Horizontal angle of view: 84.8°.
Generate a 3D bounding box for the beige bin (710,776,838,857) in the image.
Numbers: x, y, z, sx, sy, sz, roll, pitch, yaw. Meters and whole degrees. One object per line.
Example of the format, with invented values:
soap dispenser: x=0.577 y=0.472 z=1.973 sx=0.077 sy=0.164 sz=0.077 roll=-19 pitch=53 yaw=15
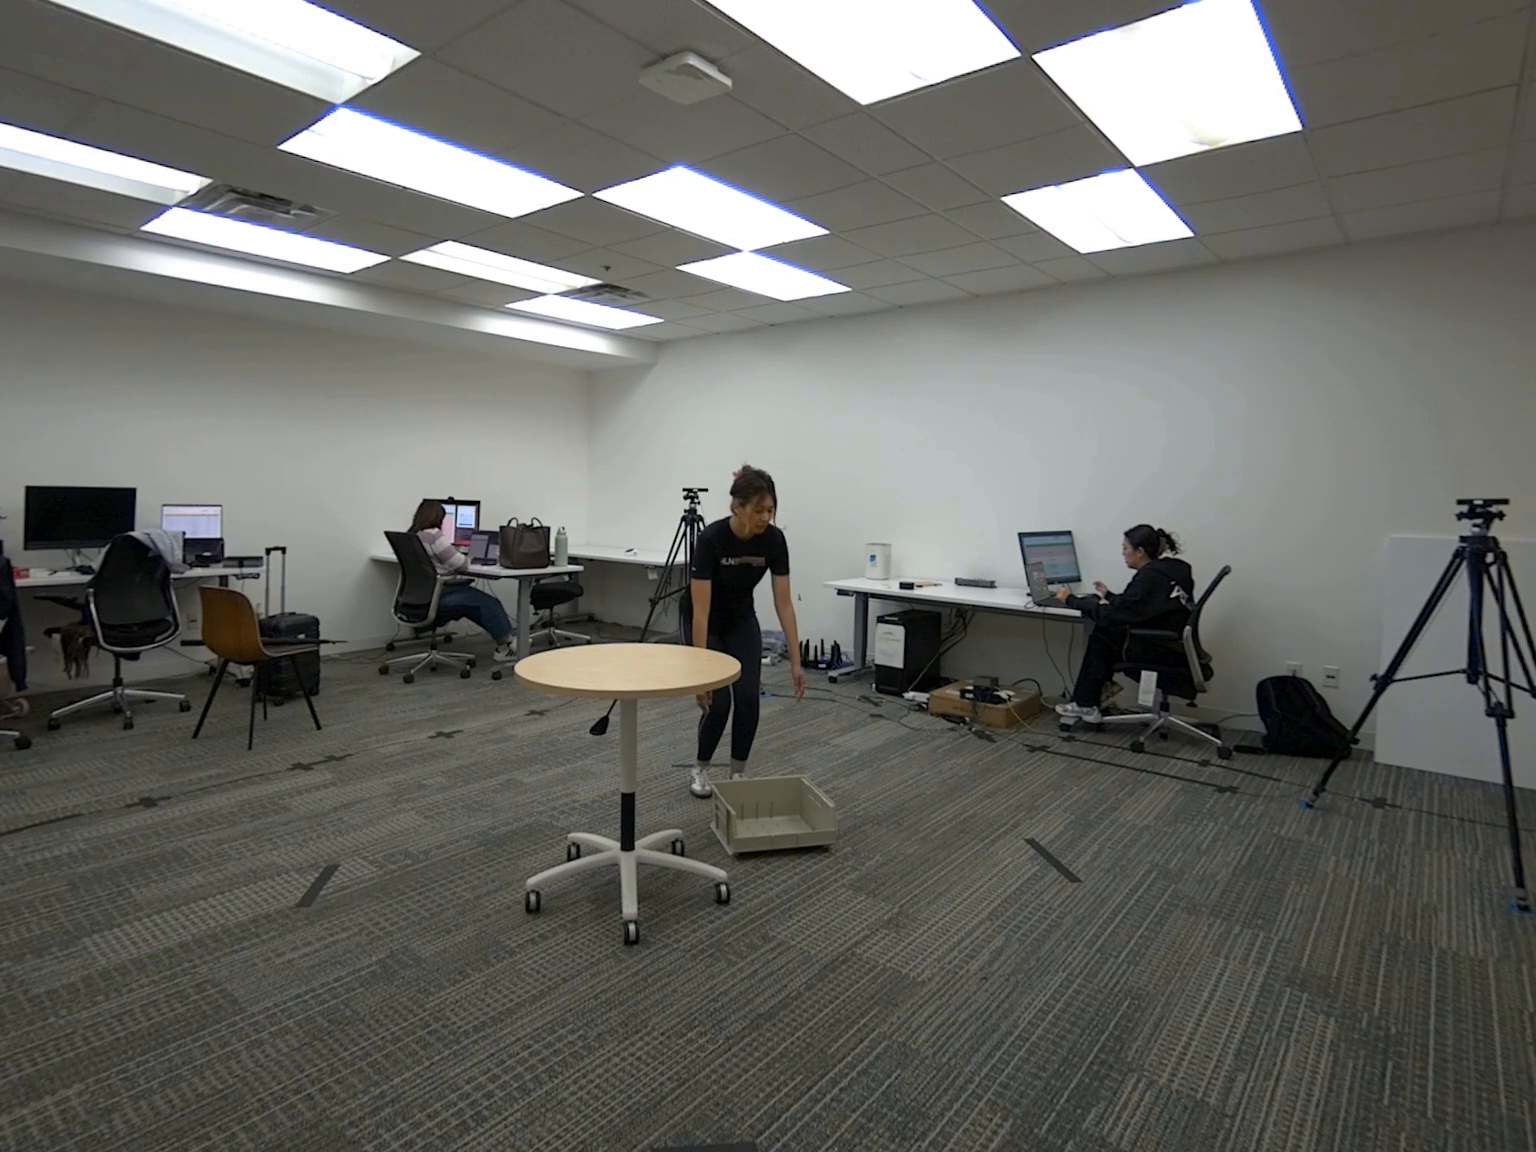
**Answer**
beige bin: x=0.007 y=0.965 z=3.398 sx=0.415 sy=0.188 sz=0.385 roll=0 pitch=5 yaw=-17
